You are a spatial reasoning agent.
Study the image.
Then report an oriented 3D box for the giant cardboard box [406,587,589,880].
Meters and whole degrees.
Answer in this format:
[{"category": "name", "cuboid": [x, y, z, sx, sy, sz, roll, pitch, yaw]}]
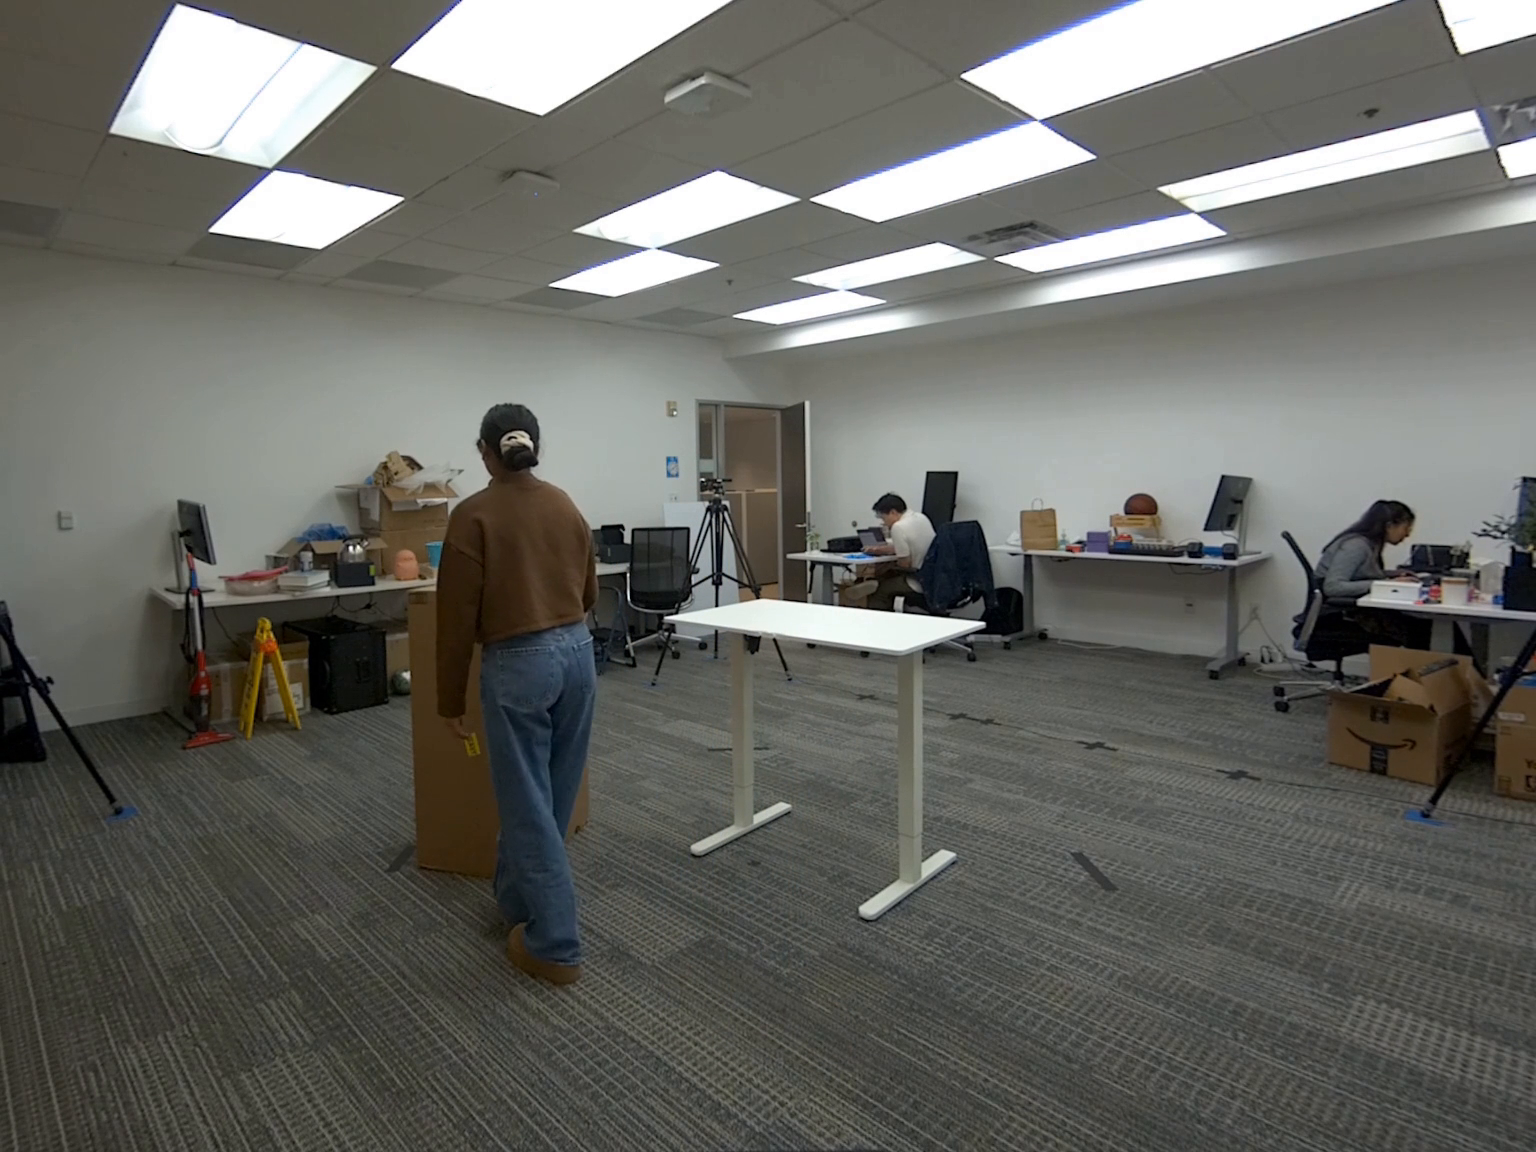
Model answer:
[{"category": "giant cardboard box", "cuboid": [-1.019, 0.532, 3.303, 0.433, 1.022, 0.570, 0, 4, 16]}]
